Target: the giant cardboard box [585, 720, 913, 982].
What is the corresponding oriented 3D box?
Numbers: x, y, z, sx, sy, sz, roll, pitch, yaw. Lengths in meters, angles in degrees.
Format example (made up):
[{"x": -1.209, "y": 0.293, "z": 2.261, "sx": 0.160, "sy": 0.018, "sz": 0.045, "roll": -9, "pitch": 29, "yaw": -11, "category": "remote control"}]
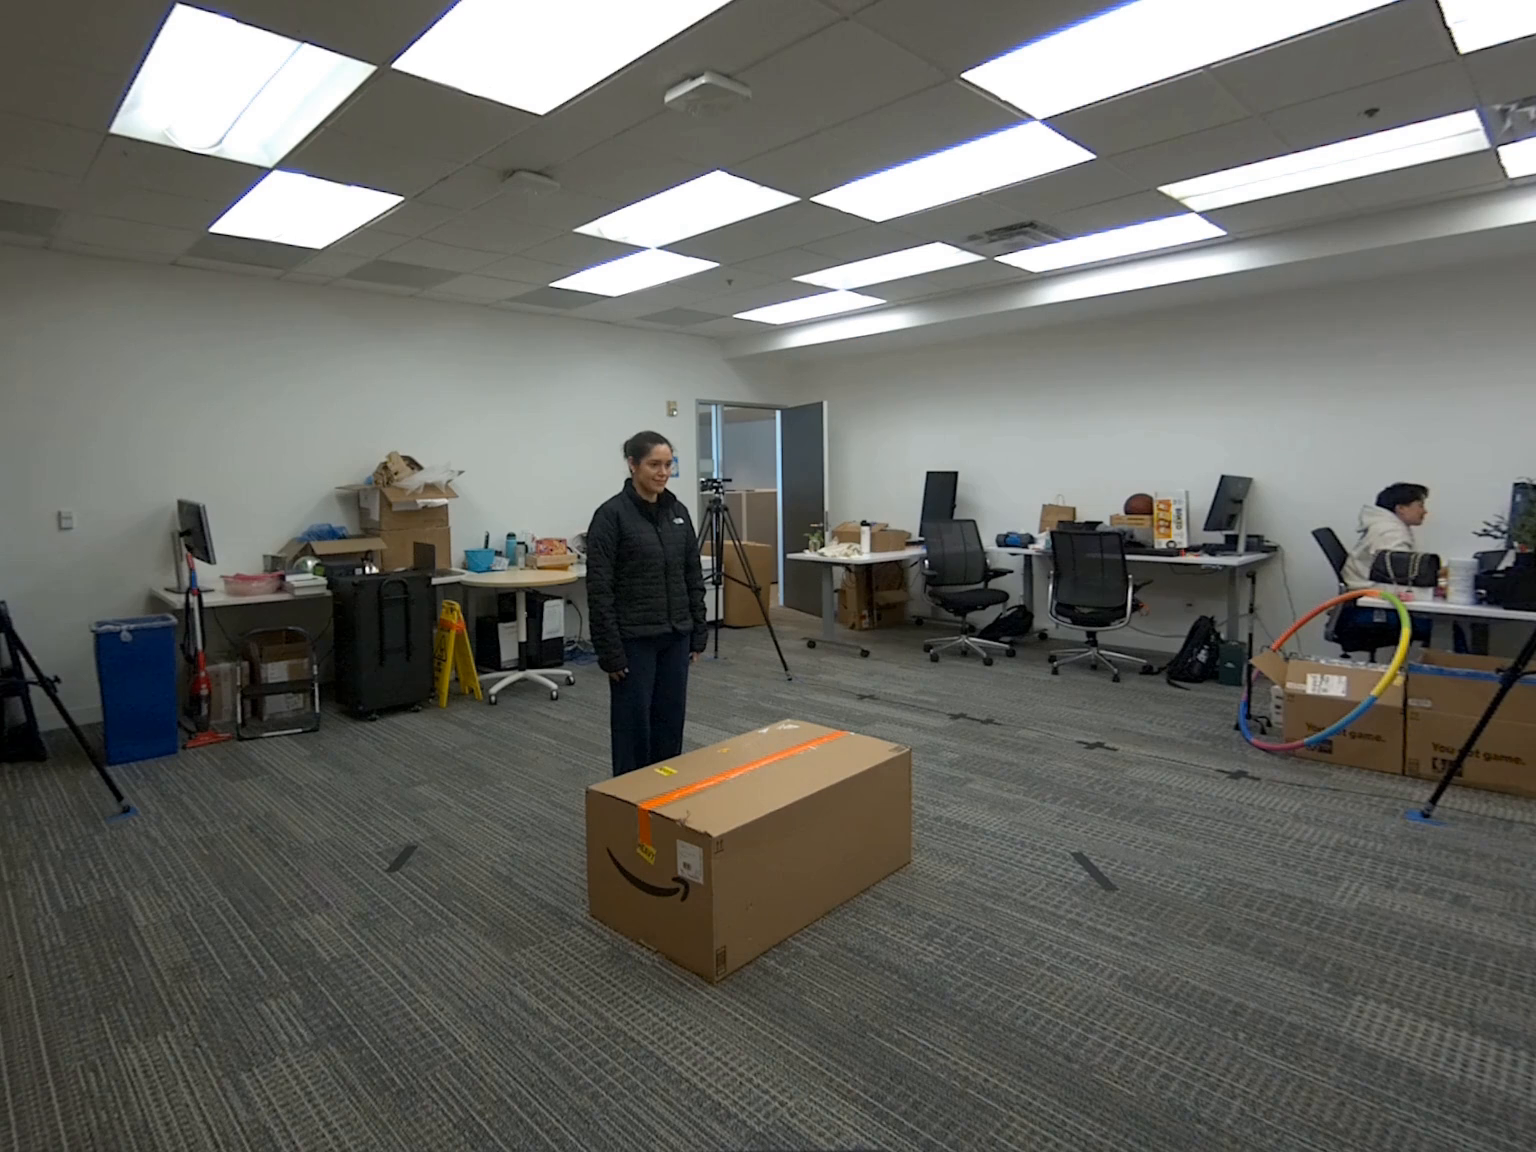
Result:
[{"x": -0.032, "y": 0.852, "z": 2.916, "sx": 0.595, "sy": 0.424, "sz": 0.999, "roll": 3, "pitch": 7, "yaw": 42, "category": "giant cardboard box"}]
